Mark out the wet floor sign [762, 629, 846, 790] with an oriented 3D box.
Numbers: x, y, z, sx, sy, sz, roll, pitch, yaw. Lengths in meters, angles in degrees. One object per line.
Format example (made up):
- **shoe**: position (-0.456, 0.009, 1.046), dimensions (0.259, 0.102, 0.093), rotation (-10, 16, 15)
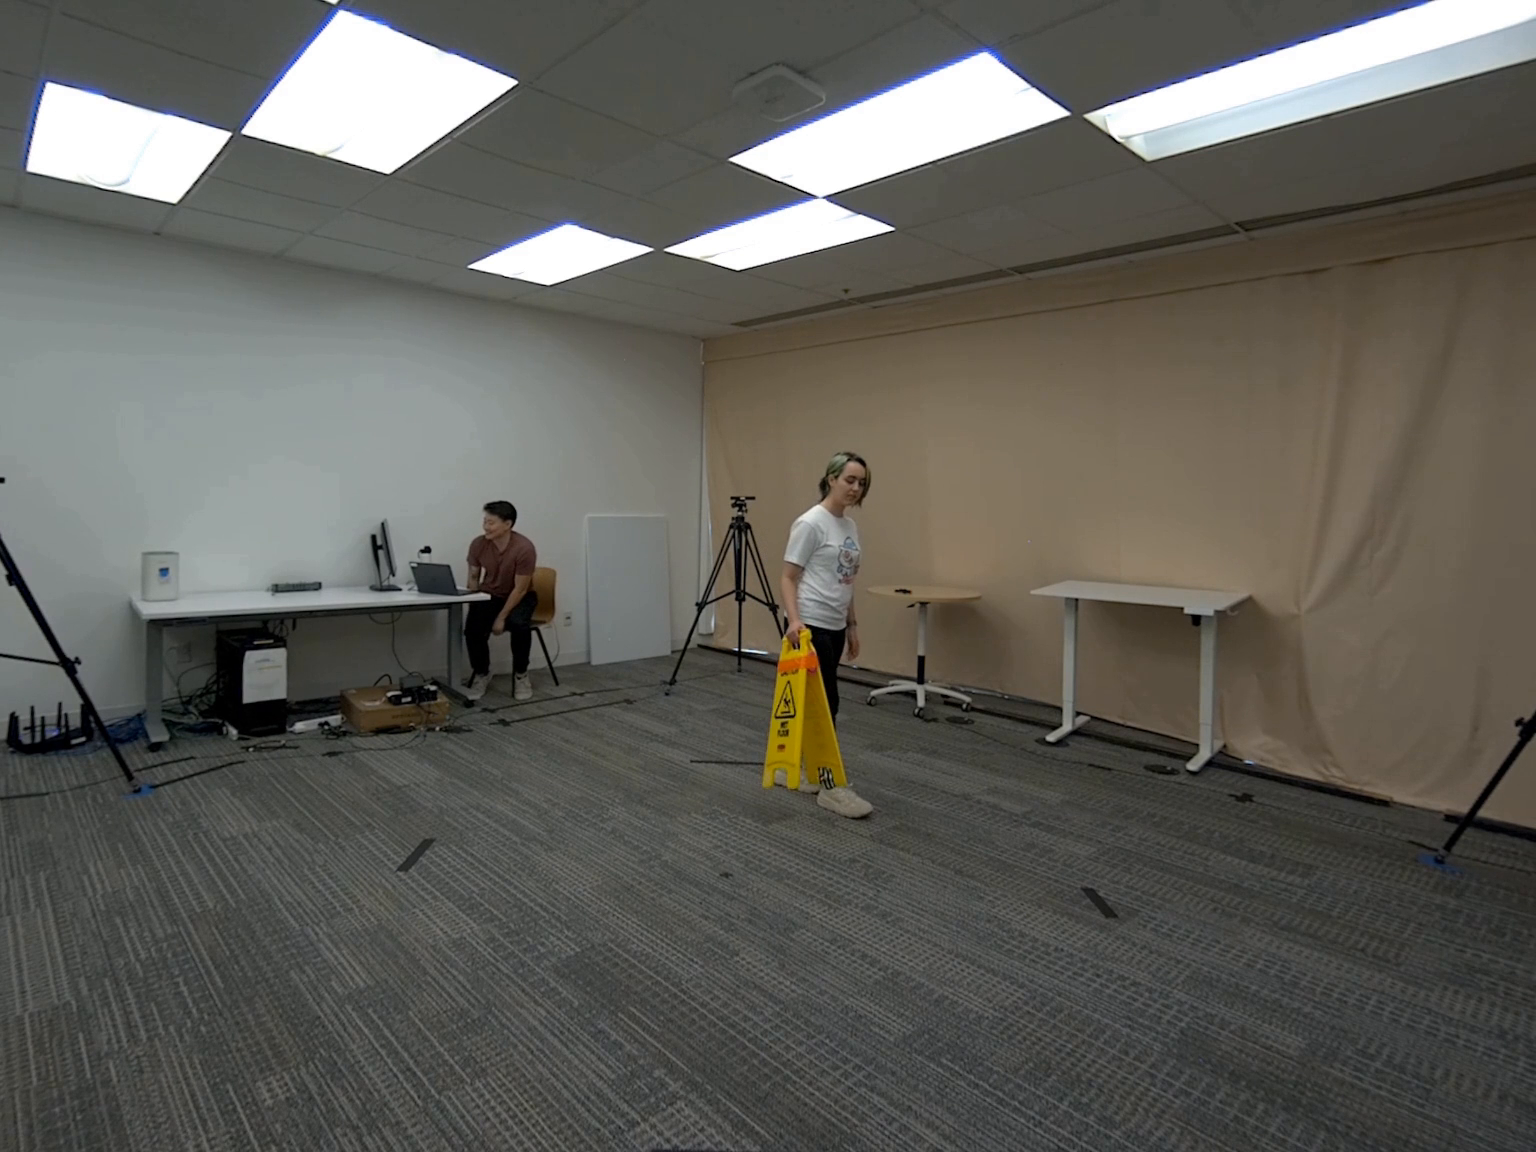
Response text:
- **wet floor sign**: position (0.133, 0.560, 3.590), dimensions (0.284, 0.652, 0.285), rotation (4, -13, -28)
